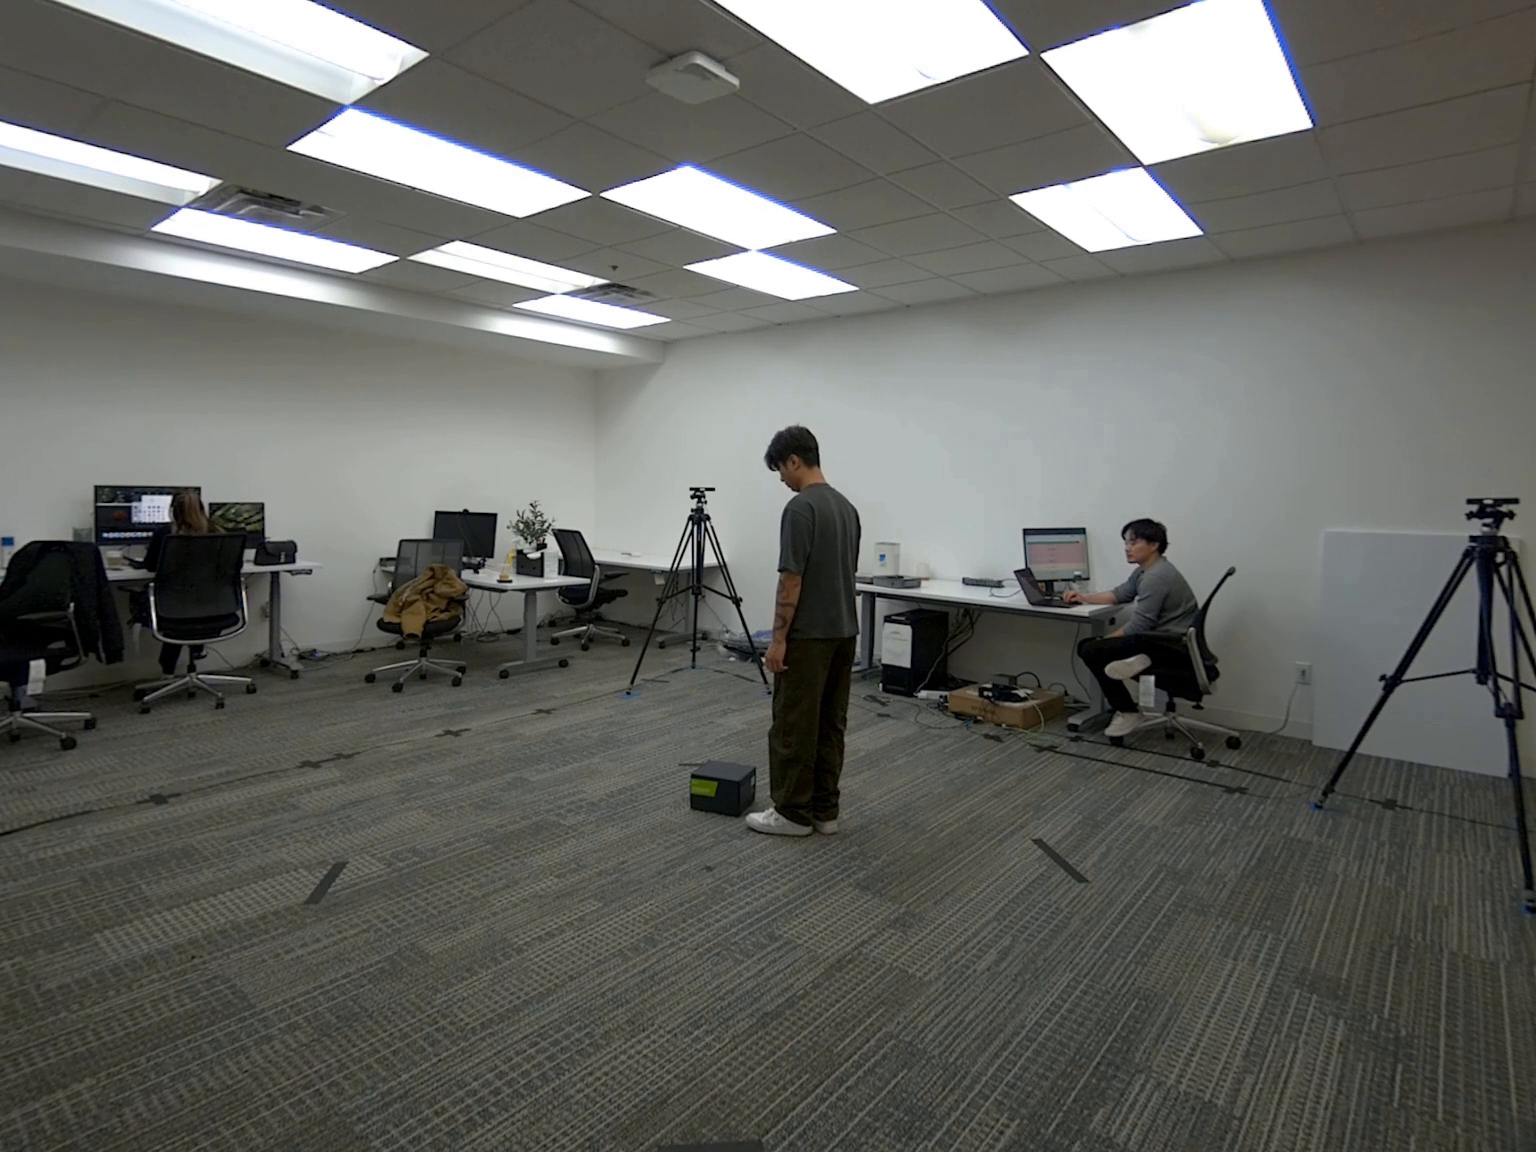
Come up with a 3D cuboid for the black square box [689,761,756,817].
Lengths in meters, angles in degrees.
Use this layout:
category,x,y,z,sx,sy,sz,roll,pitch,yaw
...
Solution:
category,x,y,z,sx,sy,sz,roll,pitch,yaw
black square box,-0.208,0.920,3.736,0.233,0.155,0.213,3,5,20
